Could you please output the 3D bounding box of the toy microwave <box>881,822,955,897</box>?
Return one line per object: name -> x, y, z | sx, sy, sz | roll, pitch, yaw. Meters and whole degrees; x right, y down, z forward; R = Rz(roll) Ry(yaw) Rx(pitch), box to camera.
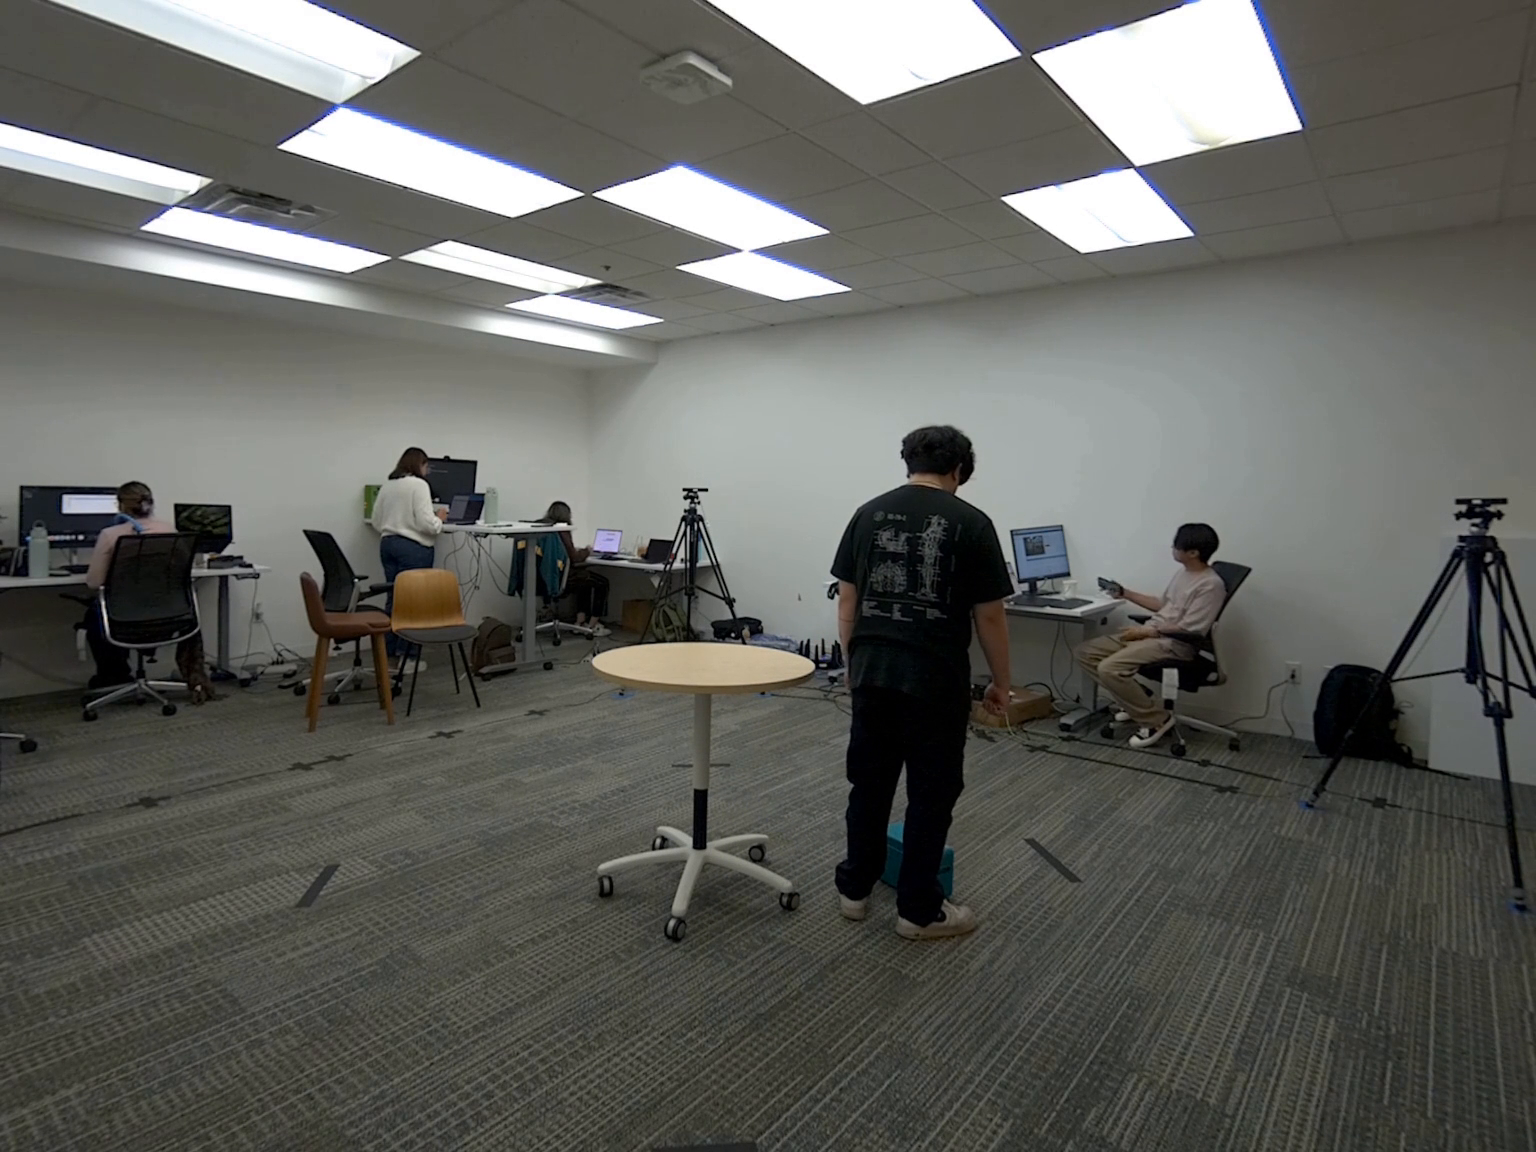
toy microwave -> 0.498, 1.001, 2.999 | 0.148, 0.184, 0.295 | 0, 4, -35
